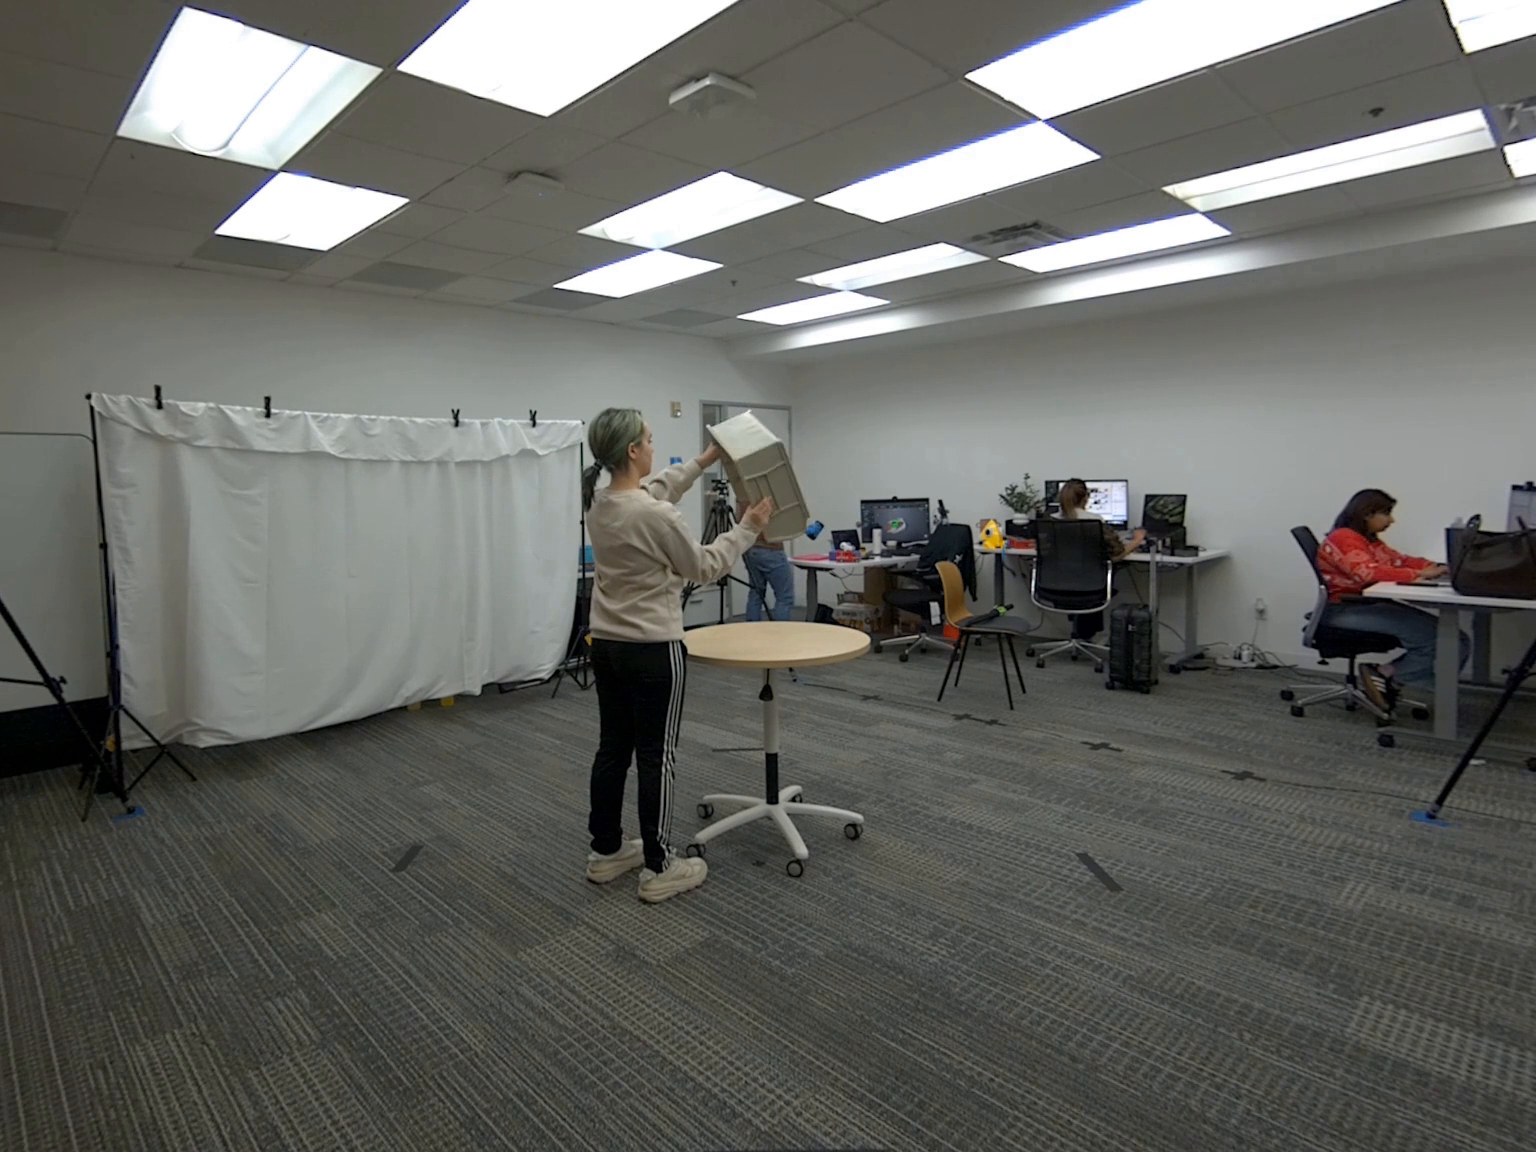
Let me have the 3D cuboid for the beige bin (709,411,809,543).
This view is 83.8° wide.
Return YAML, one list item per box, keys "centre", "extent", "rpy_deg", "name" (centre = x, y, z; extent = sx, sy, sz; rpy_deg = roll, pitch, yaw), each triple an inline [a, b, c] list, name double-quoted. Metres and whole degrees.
- centre: [-0.035, -0.364, 3.136]
  extent: [0.188, 0.366, 0.436]
  rpy_deg: [-25, 29, -6]
  name: "beige bin"
